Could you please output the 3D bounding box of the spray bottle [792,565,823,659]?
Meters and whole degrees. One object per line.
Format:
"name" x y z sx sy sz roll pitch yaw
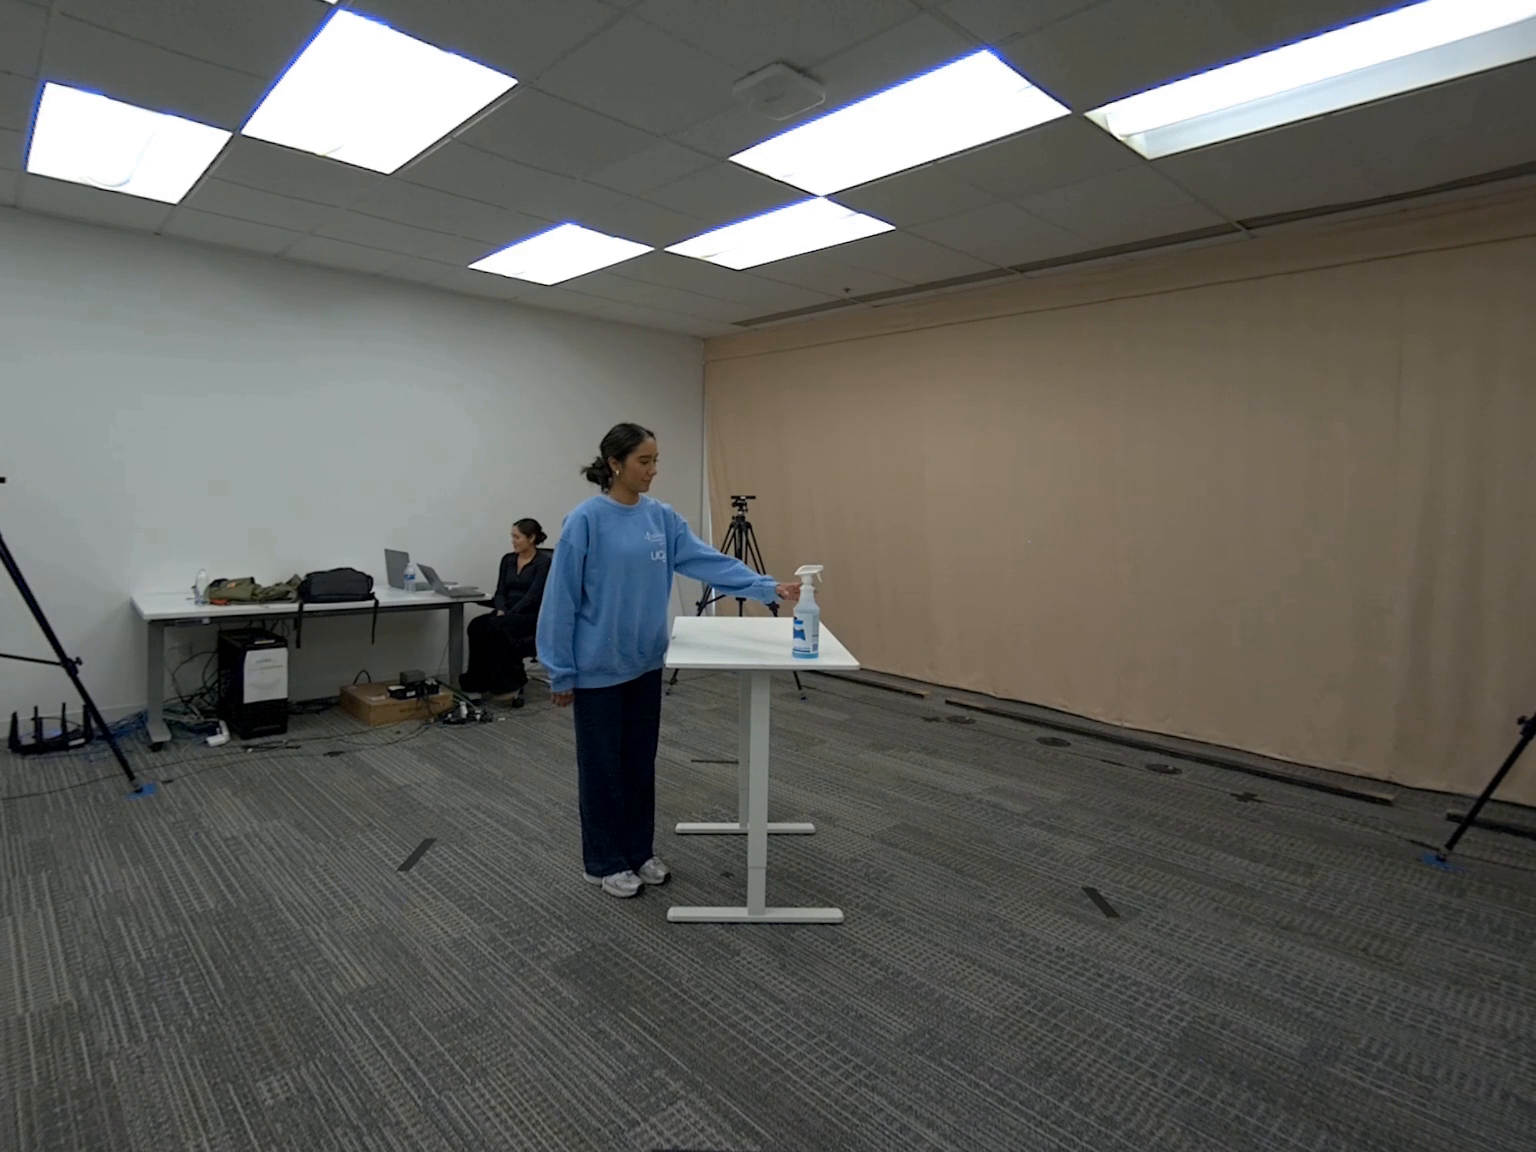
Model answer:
"spray bottle" 0.117 0.115 2.716 0.091 0.297 0.086 3 3 16
